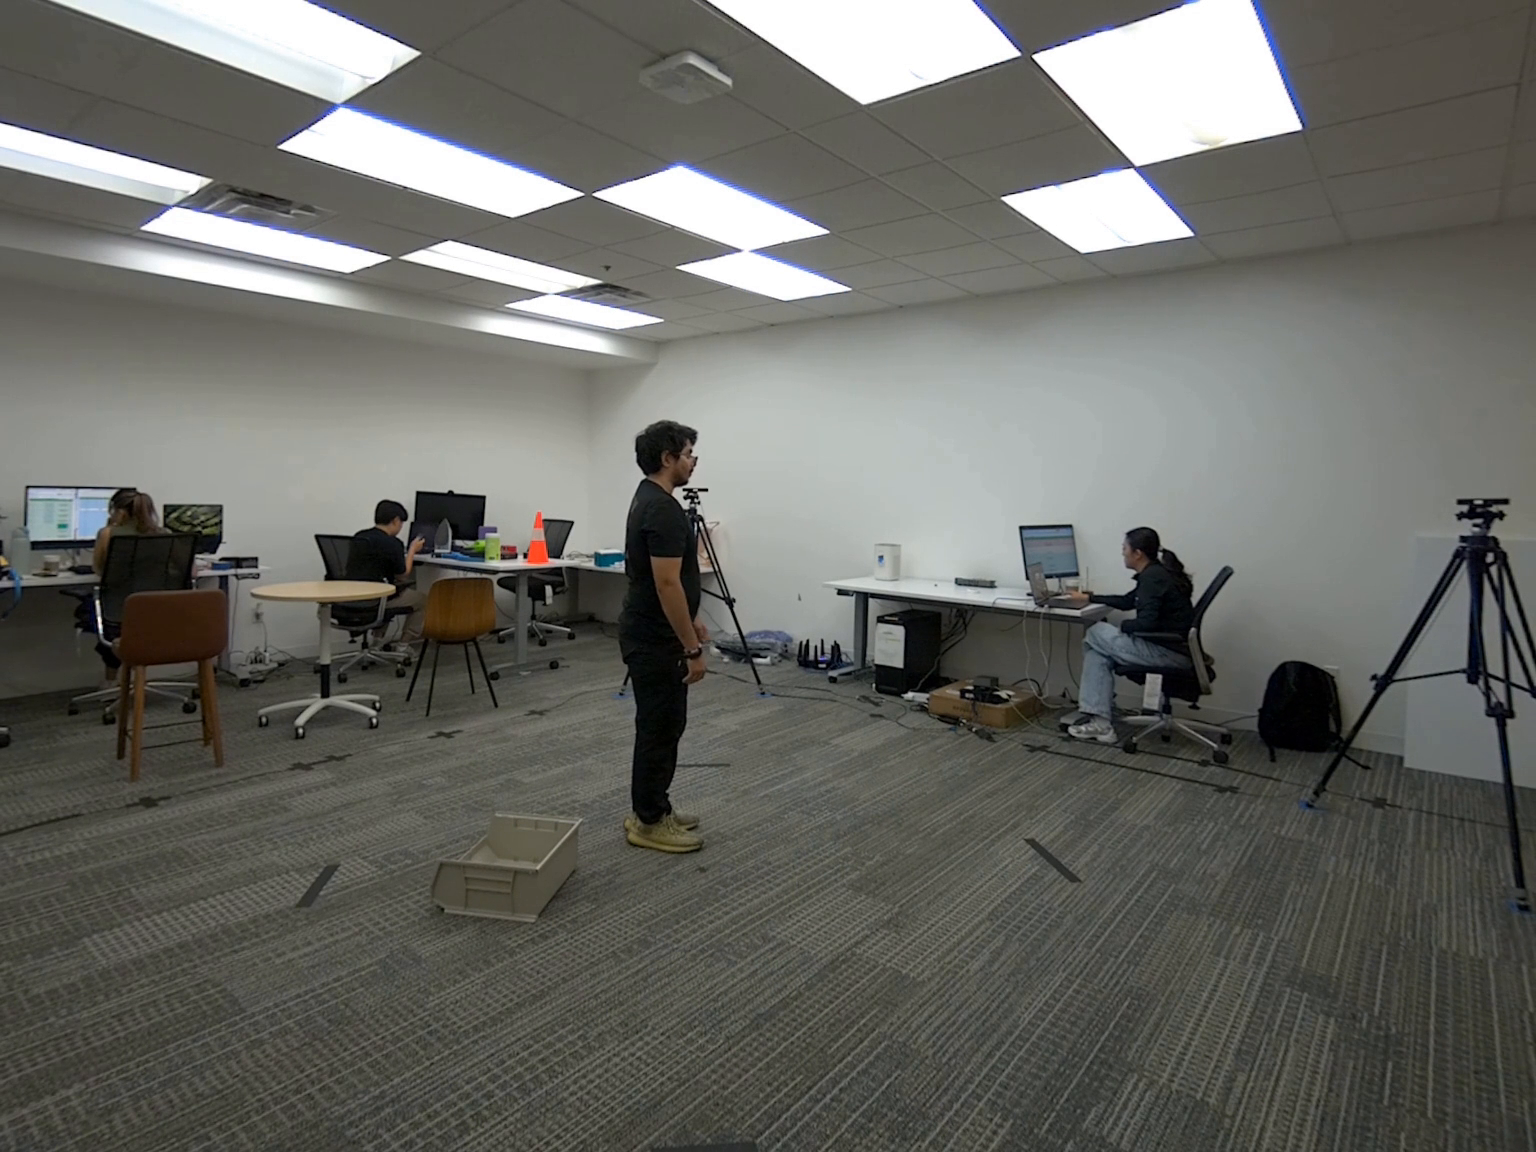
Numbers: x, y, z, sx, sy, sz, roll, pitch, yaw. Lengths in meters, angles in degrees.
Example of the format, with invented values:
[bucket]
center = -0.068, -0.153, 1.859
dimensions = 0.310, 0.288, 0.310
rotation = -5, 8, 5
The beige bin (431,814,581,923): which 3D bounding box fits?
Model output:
[beige bin]
center = -0.903, 0.990, 2.926
dimensions = 0.381, 0.188, 0.419
rotation = 3, 5, 8
